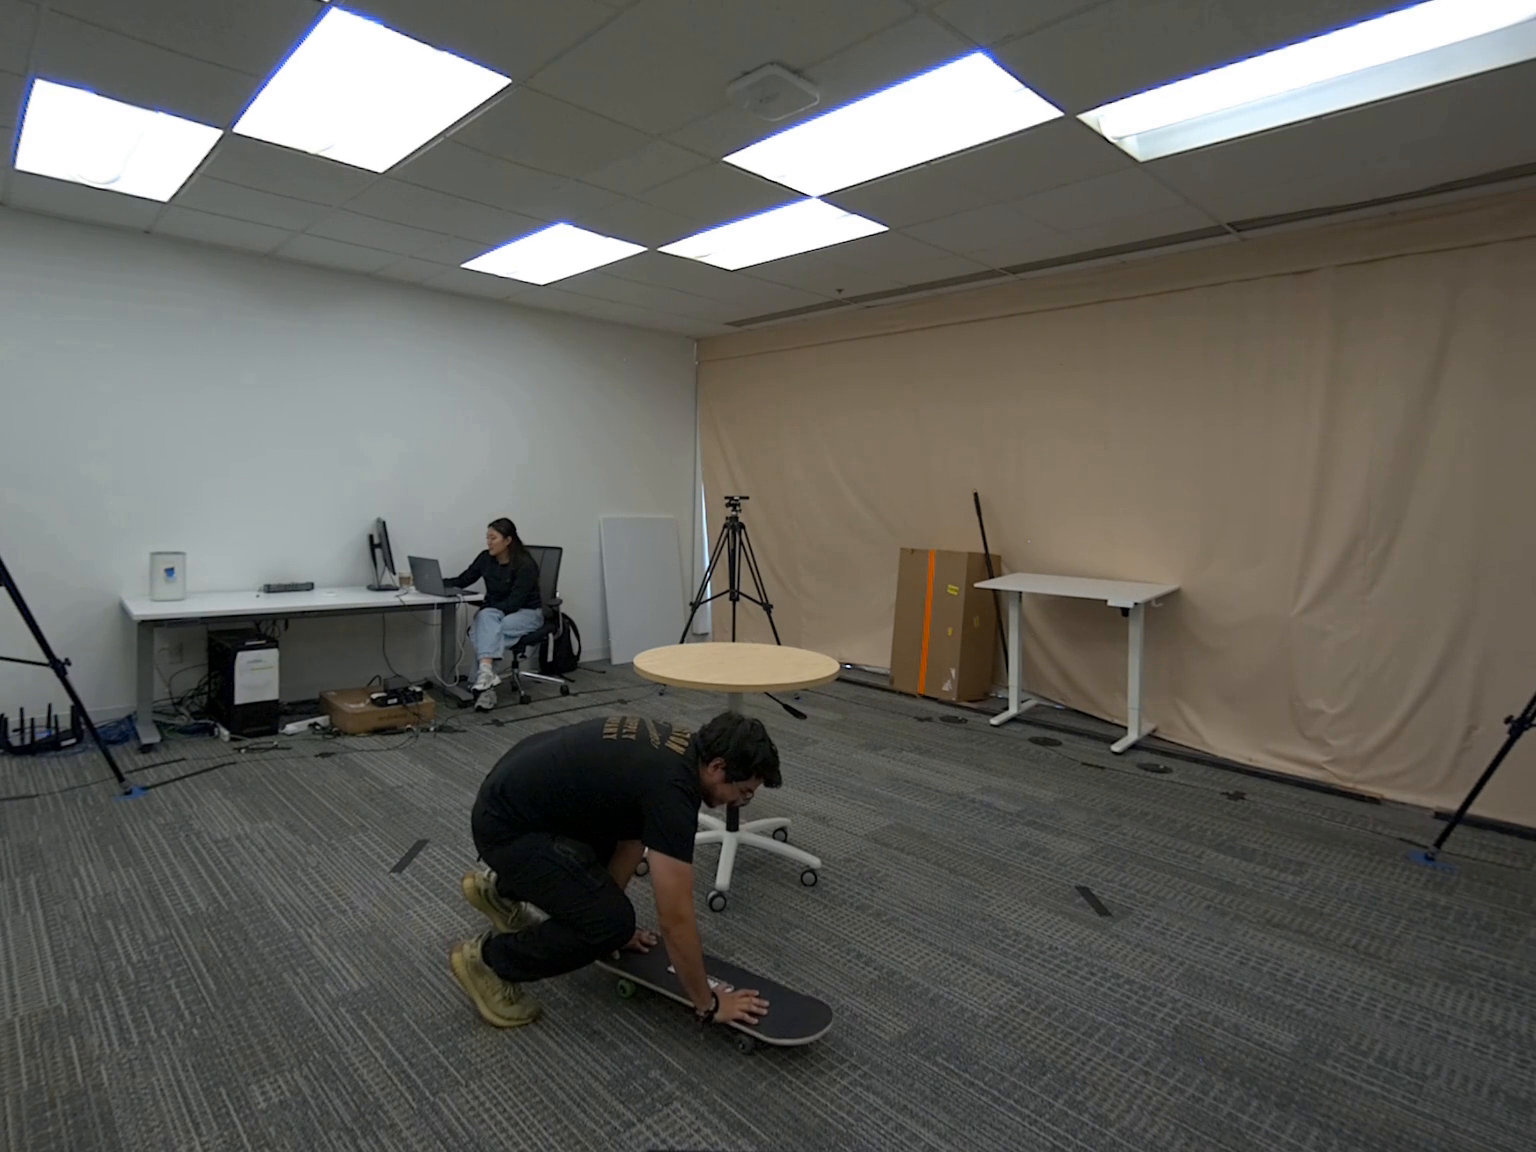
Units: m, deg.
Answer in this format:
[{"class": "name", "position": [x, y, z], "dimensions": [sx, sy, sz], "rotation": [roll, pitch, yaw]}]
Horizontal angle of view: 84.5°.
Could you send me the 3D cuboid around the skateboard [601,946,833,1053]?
[{"class": "skateboard", "position": [-0.191, 1.124, 2.286], "dimensions": [0.804, 0.110, 0.190], "rotation": [5, 9, 34]}]
